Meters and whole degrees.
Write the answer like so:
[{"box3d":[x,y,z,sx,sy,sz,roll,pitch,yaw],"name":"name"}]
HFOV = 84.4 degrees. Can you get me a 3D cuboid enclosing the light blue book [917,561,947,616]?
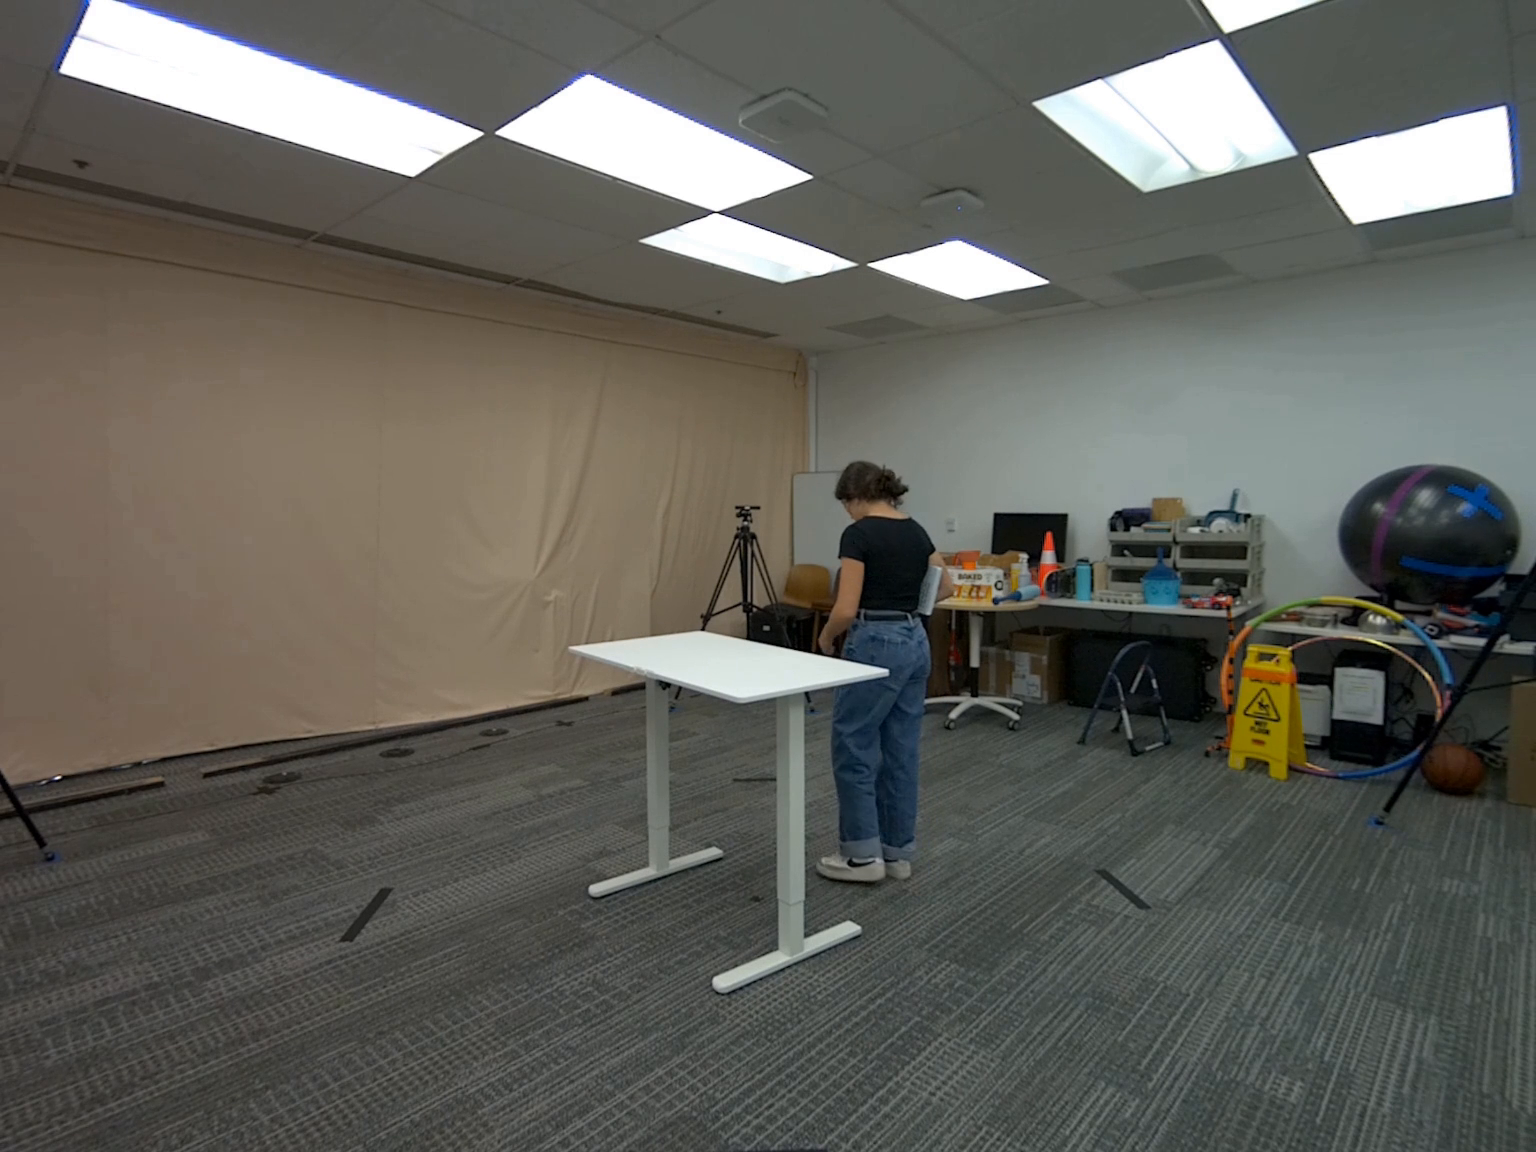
[{"box3d":[0.535,0.019,3.294,0.269,0.190,0.057,17,12,29],"name":"light blue book"}]
